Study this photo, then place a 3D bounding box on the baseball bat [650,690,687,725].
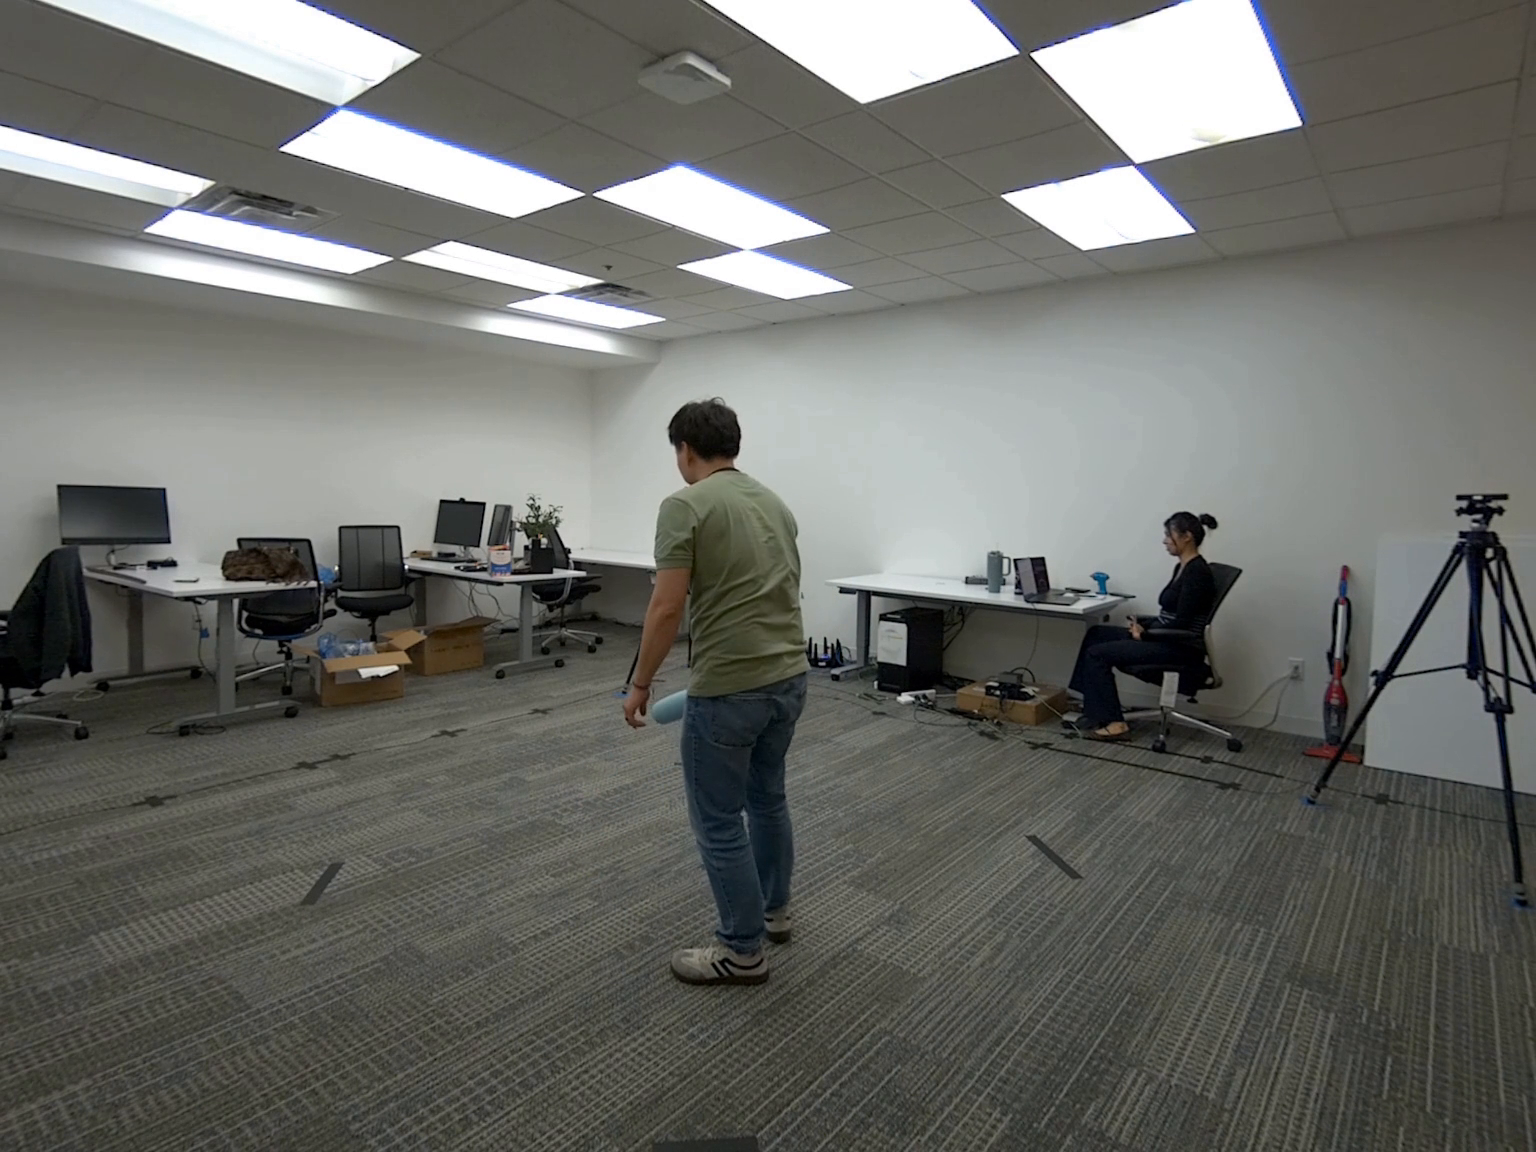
[{"bbox_3d":[-0.232,0.409,2.854,0.086,0.090,0.551,-3,-16,-42],"label":"baseball bat"}]
